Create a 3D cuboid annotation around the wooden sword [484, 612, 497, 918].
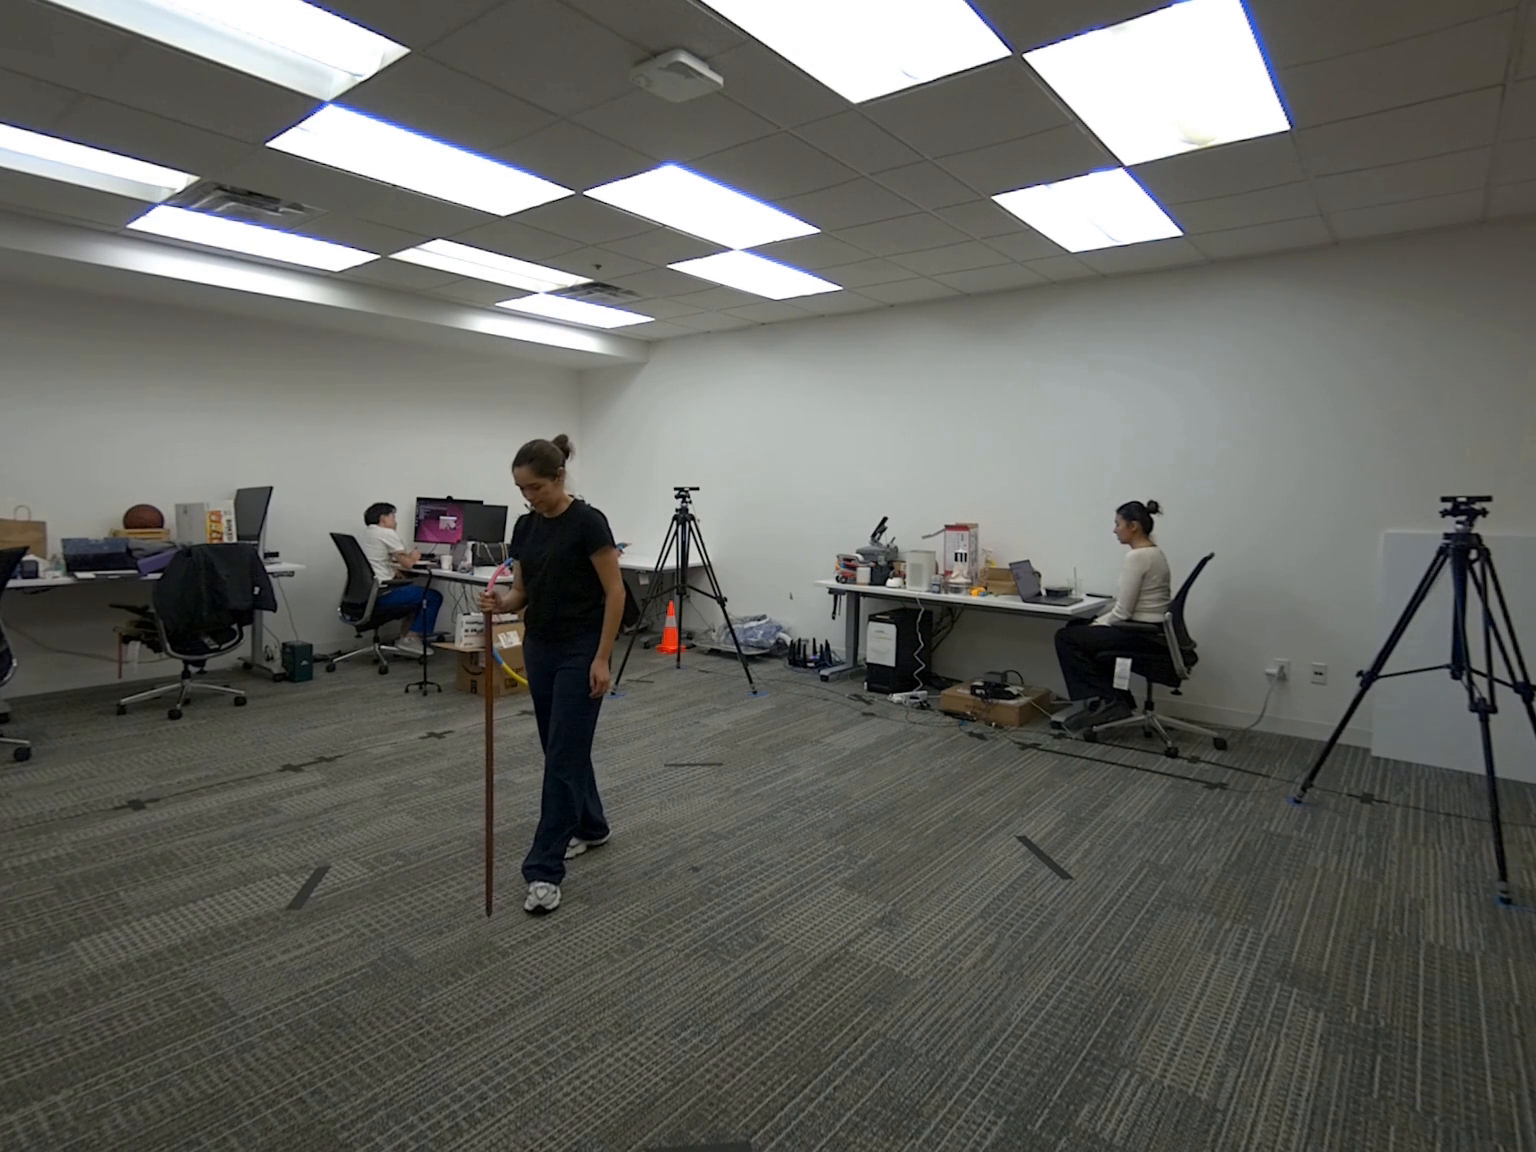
[{"bbox_3d":[-0.917,0.578,2.818,0.052,1.037,0.023,-6,-12,7],"label":"wooden sword"}]
